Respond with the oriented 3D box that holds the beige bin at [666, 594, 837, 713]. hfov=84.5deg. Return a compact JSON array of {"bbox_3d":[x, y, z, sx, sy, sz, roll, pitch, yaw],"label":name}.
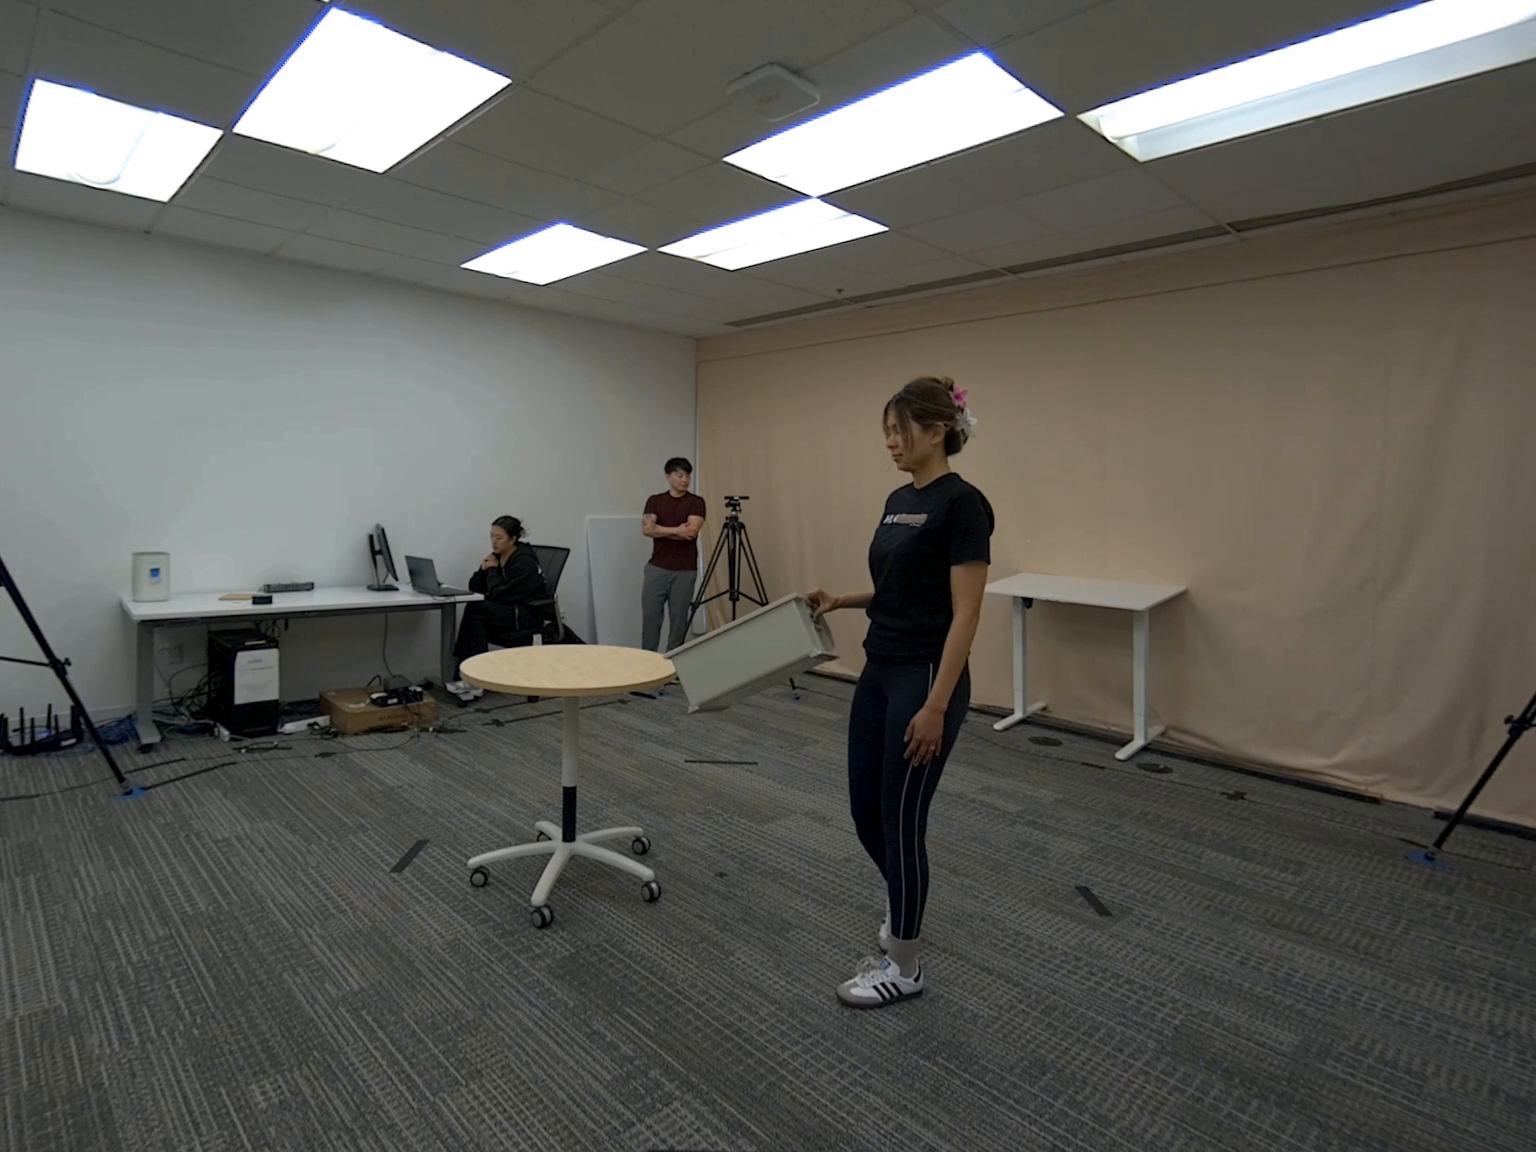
[{"bbox_3d":[-0.028,0.246,2.482,0.424,0.192,0.370,-25,-15,11],"label":"beige bin"}]
